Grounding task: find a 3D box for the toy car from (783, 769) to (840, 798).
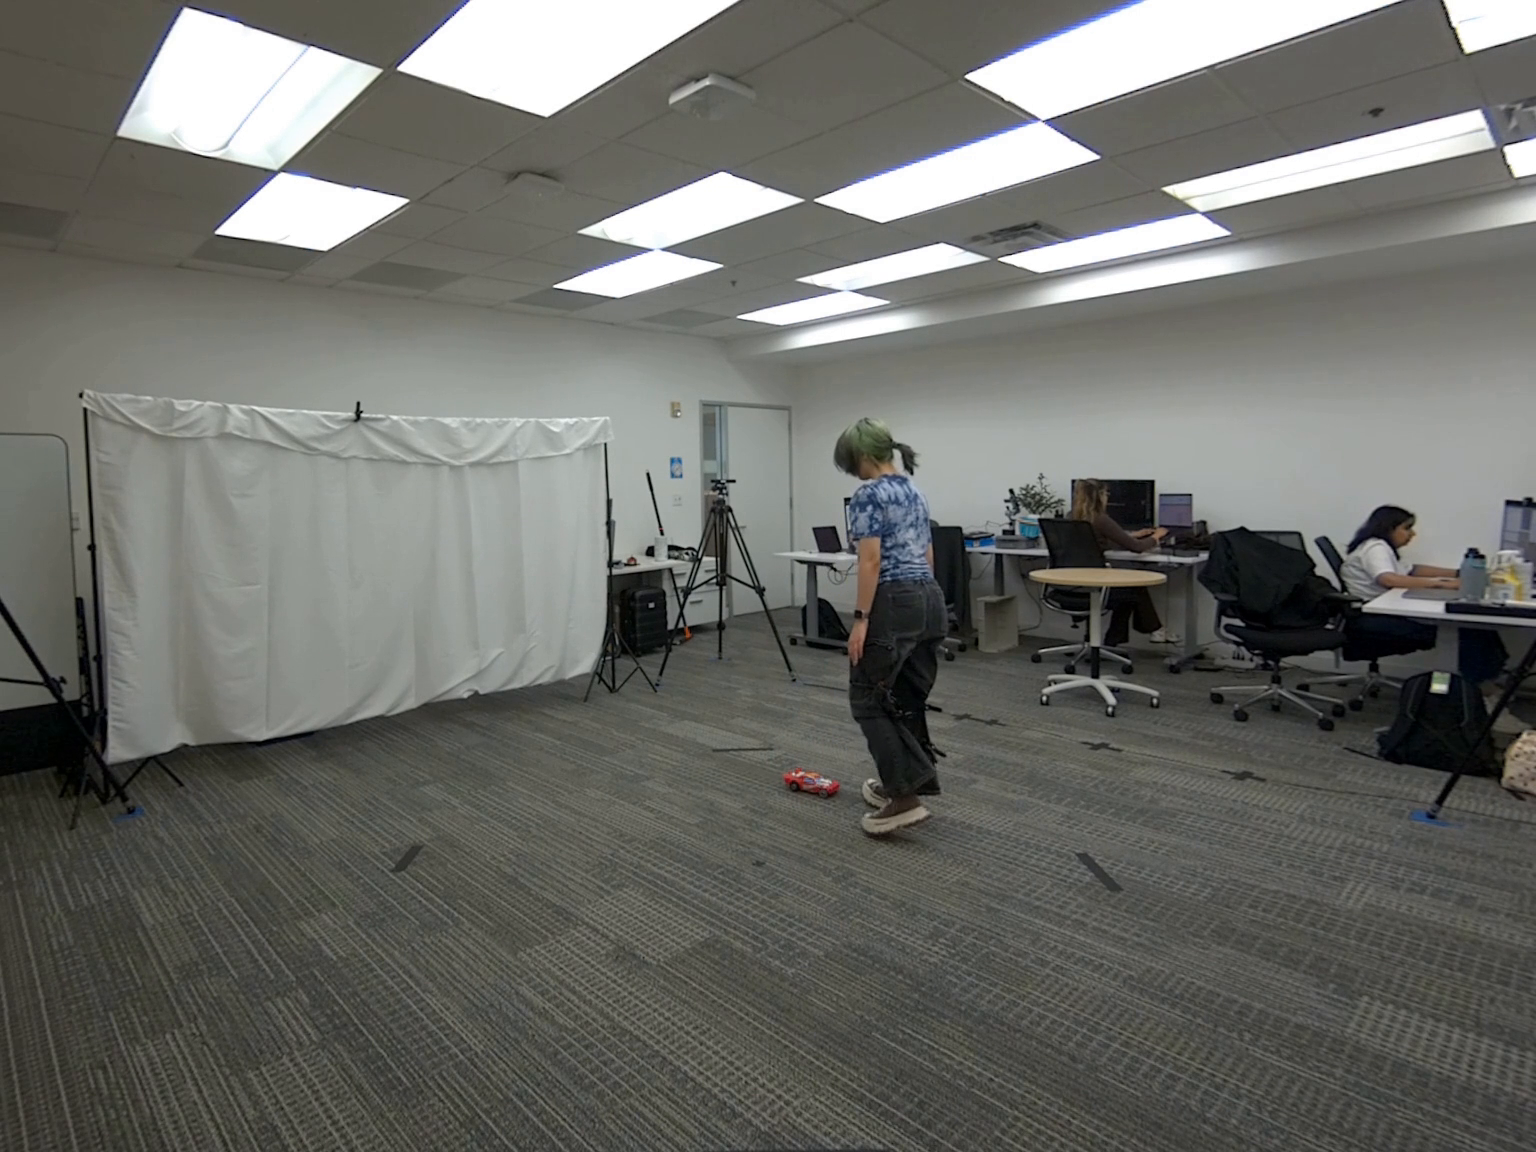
[{"bbox_3d":[0.189,0.927,3.834,0.263,0.082,0.127,16,13,32],"label":"toy car"}]
